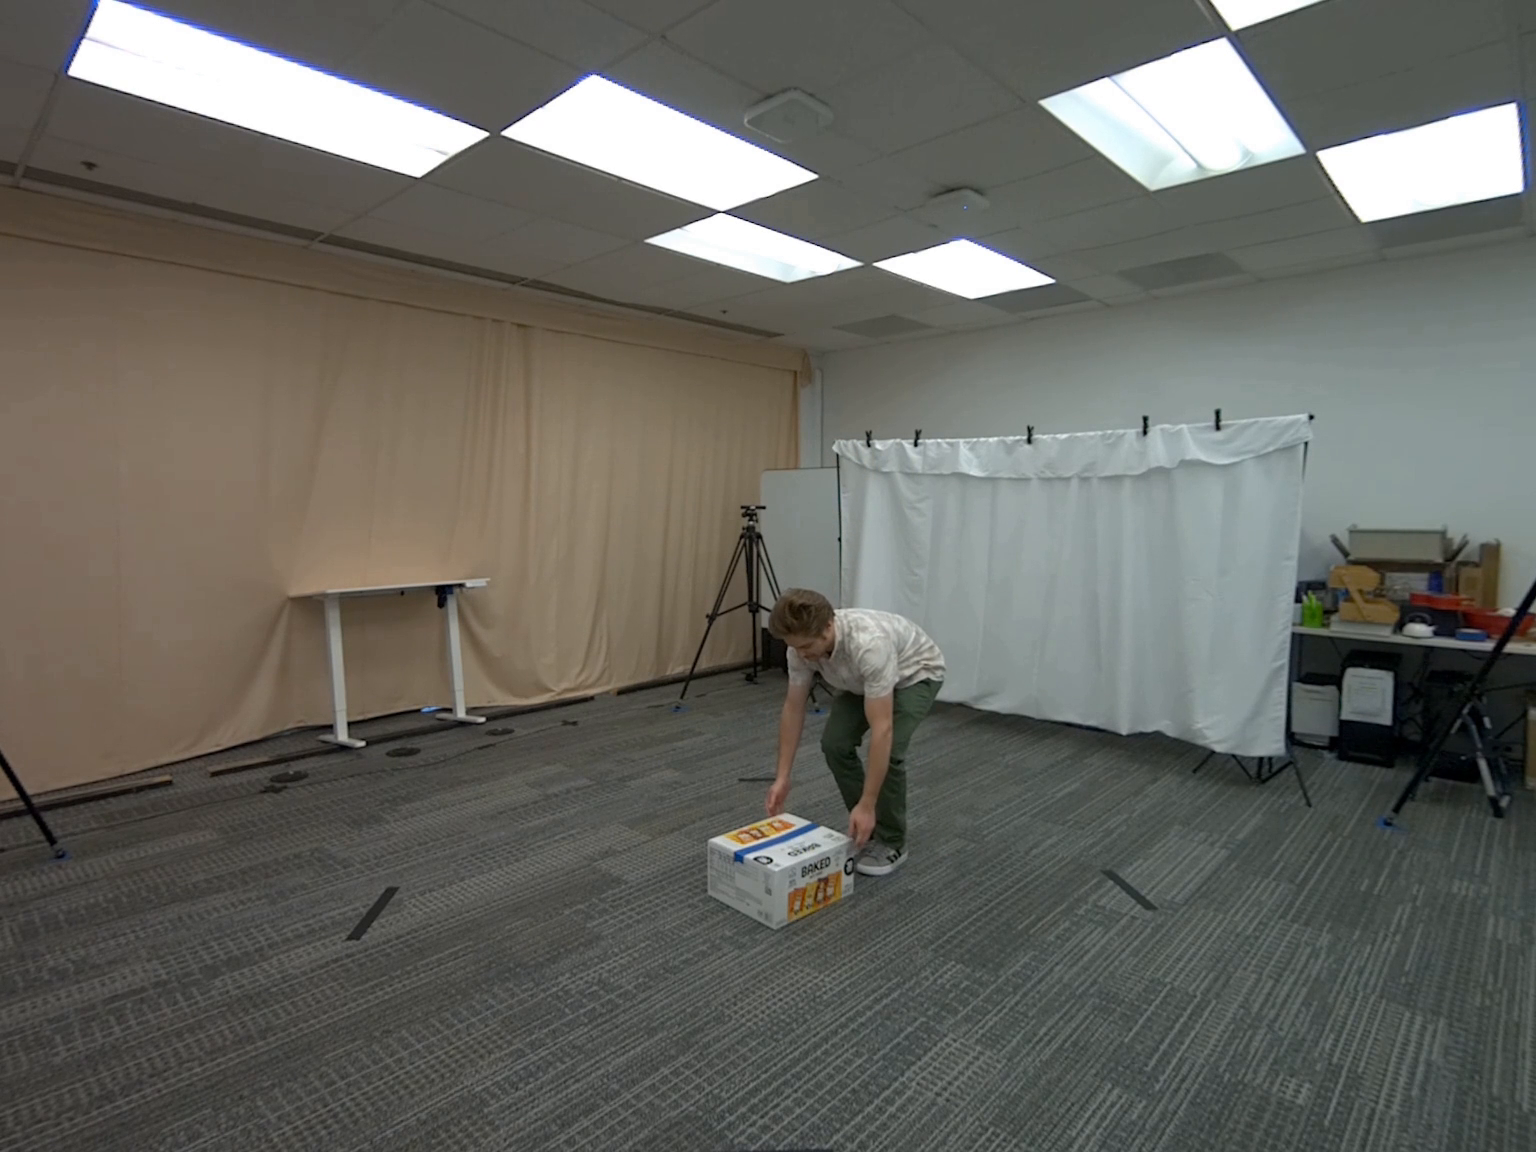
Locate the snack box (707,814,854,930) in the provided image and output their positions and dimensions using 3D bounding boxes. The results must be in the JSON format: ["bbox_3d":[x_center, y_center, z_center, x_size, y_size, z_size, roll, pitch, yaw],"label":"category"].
[{"bbox_3d":[0.048,1.041,3.004,0.393,0.205,0.352,-4,5,-43],"label":"snack box"}]
